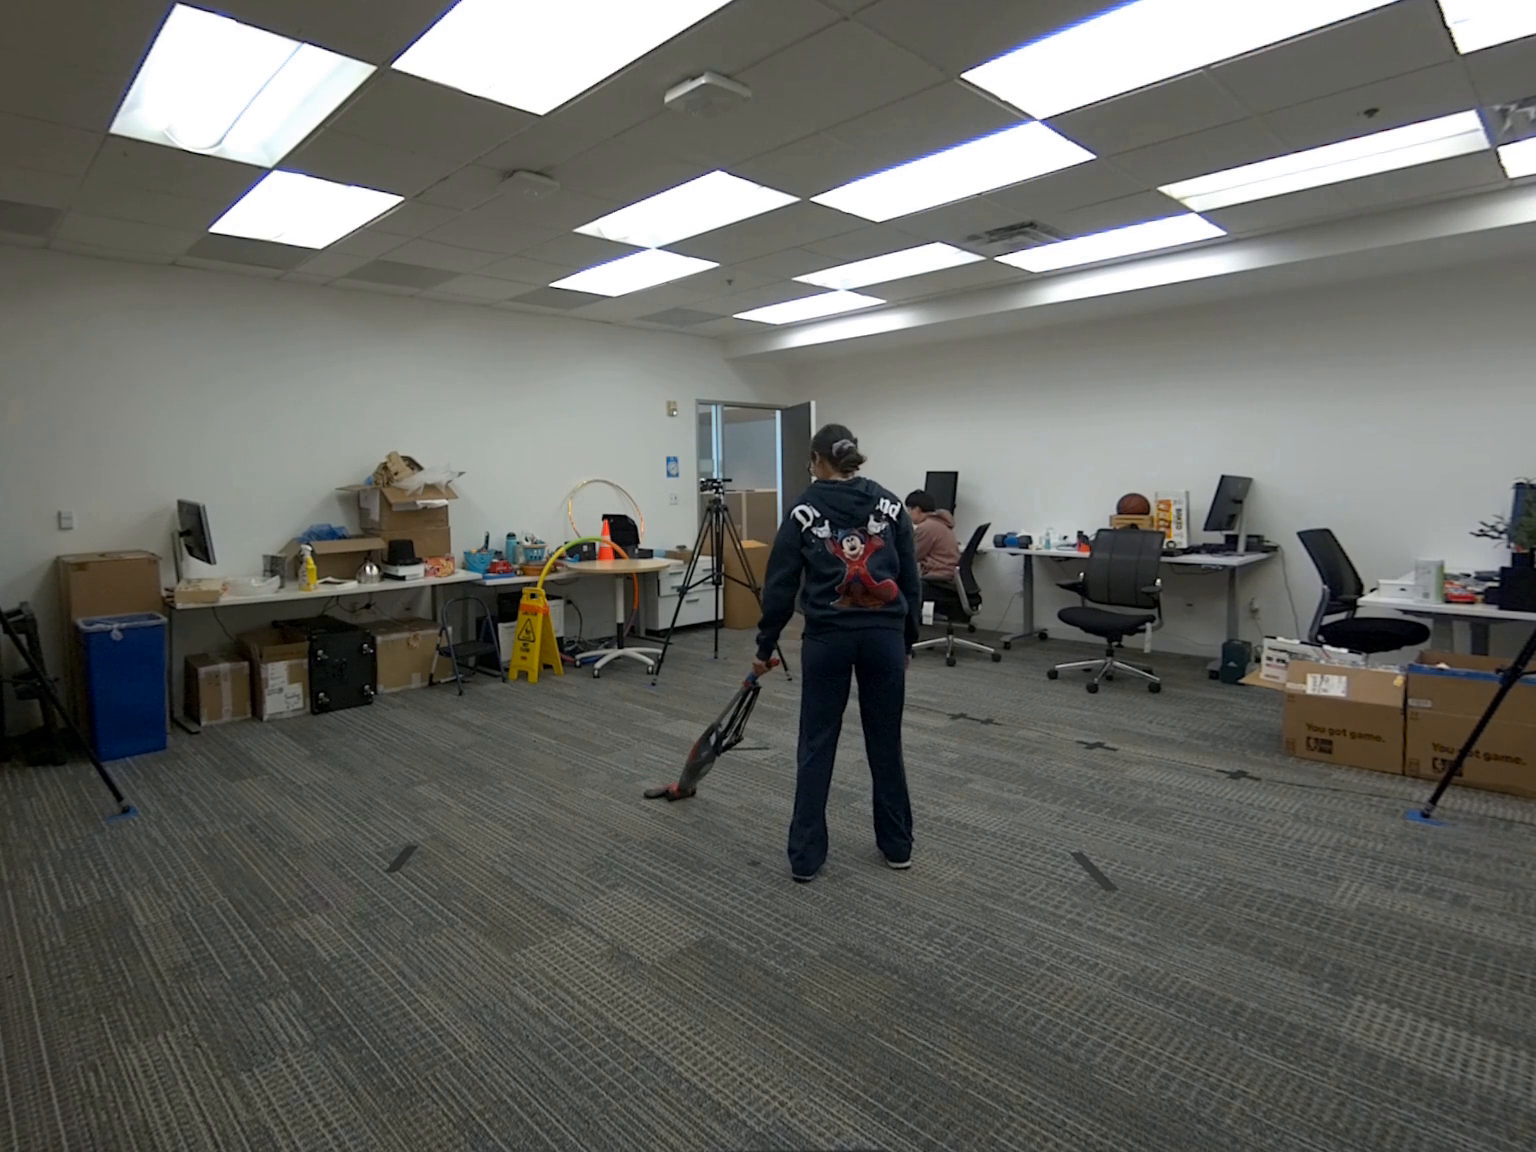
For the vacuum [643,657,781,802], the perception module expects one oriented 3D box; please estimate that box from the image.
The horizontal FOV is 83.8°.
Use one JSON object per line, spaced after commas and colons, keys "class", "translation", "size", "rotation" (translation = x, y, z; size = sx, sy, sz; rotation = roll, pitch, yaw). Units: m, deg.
{"class": "vacuum", "translation": [-0.195, 0.645, 3.464], "size": [0.247, 0.148, 1.042], "rotation": [-11, -32, -39]}
